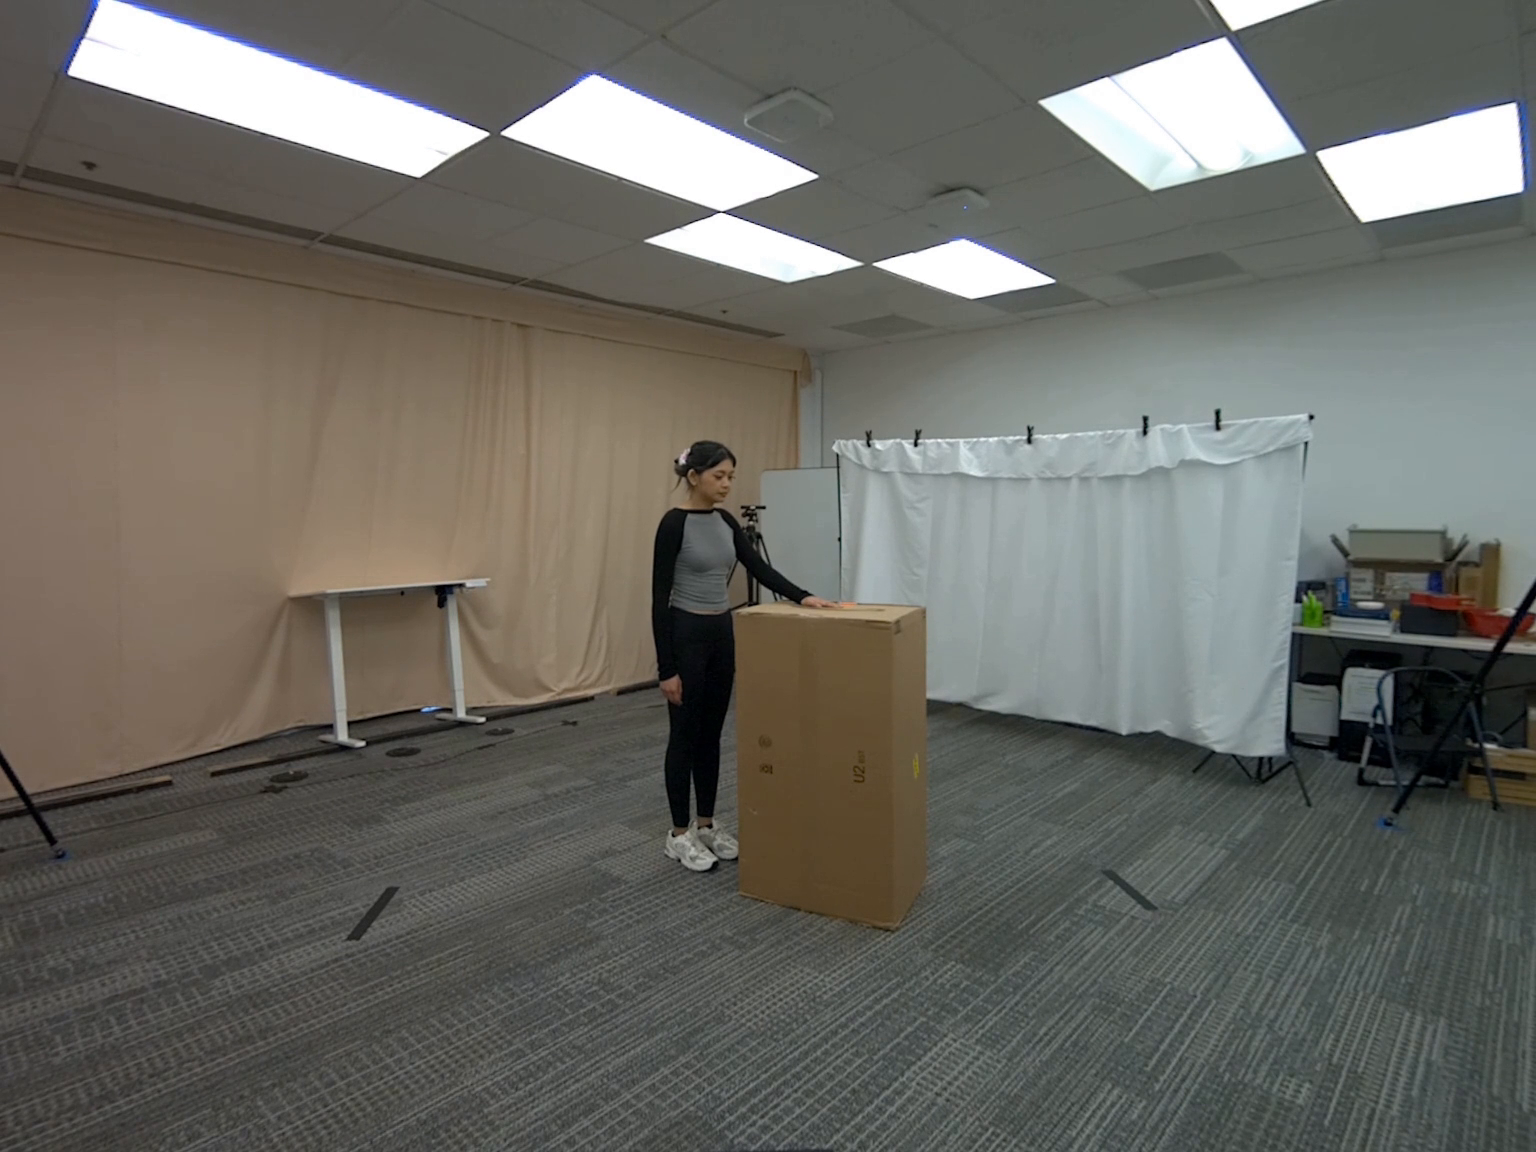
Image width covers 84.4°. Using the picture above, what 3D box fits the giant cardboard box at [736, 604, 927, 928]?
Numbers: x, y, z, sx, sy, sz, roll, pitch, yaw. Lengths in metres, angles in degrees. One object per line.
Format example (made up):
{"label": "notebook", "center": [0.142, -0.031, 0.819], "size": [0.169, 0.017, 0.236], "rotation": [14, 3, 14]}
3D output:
{"label": "giant cardboard box", "center": [0.244, 0.633, 3.039], "size": [0.599, 1.025, 0.436], "rotation": [1, 4, 26]}
